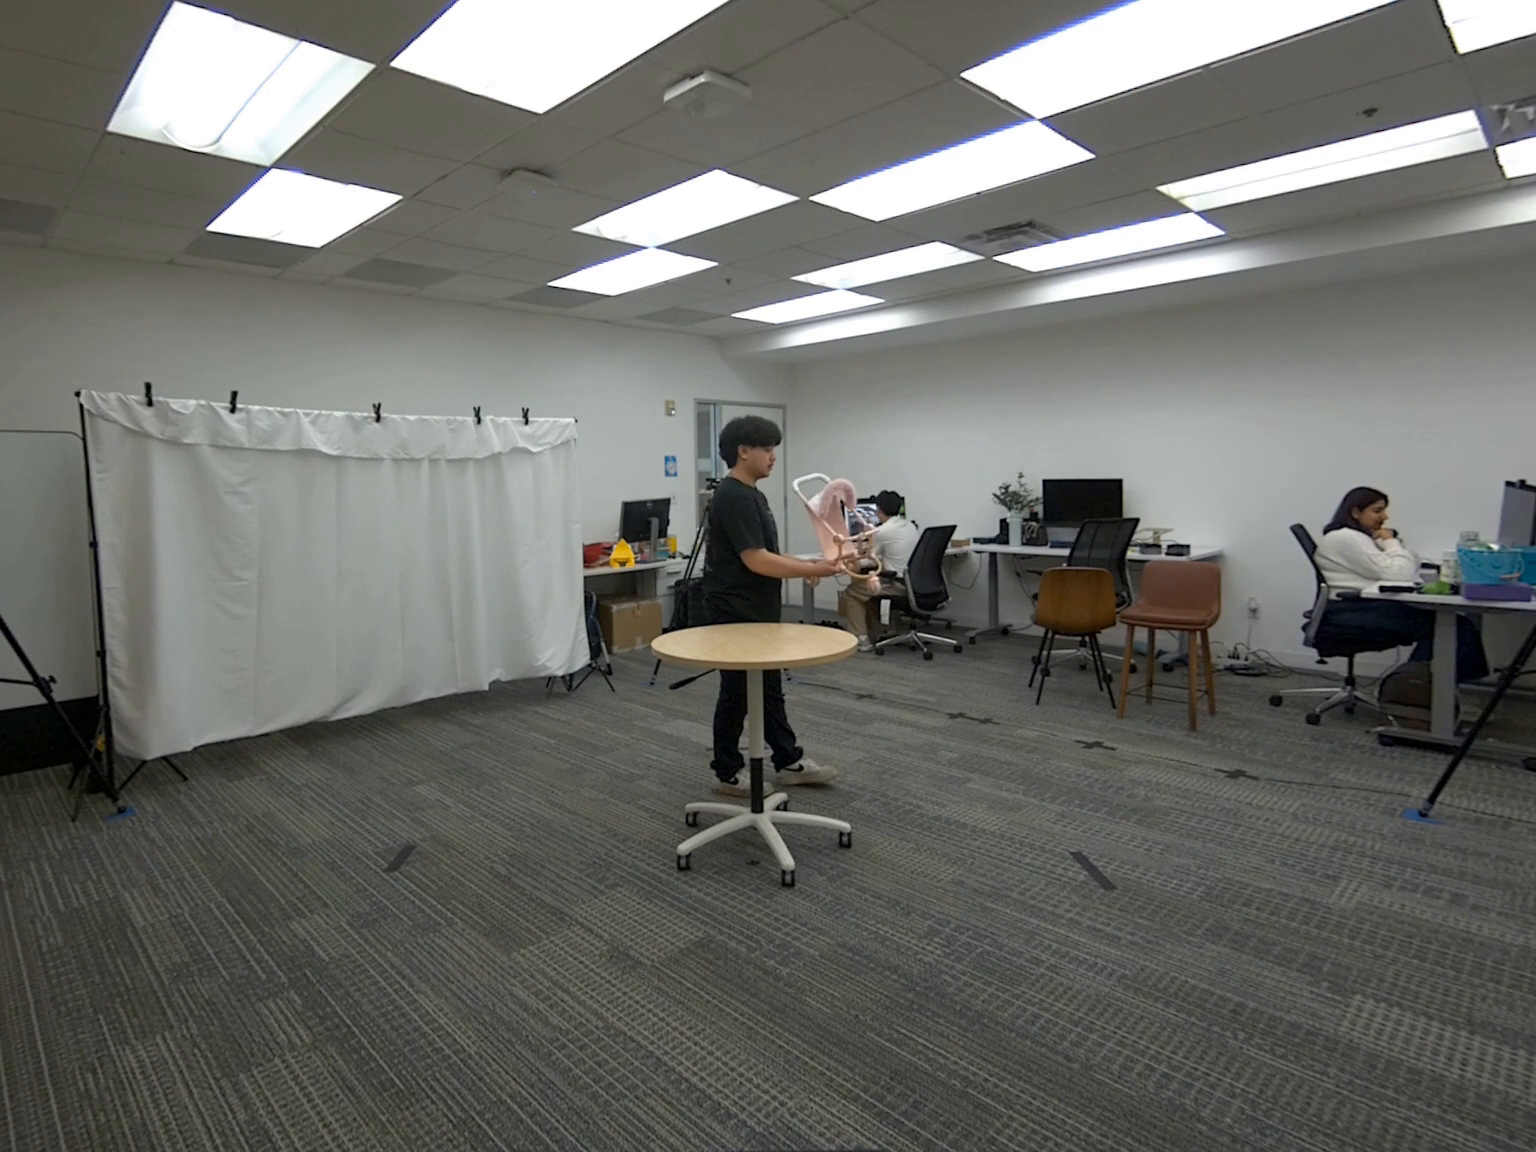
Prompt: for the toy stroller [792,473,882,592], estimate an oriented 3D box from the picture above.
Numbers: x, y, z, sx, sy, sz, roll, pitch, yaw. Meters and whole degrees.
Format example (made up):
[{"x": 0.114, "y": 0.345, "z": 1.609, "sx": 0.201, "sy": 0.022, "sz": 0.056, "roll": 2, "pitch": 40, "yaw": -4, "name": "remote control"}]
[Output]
[{"x": 0.311, "y": -0.178, "z": 3.658, "sx": 0.276, "sy": 0.531, "sz": 0.350, "roll": -15, "pitch": 8, "yaw": -33, "name": "toy stroller"}]
